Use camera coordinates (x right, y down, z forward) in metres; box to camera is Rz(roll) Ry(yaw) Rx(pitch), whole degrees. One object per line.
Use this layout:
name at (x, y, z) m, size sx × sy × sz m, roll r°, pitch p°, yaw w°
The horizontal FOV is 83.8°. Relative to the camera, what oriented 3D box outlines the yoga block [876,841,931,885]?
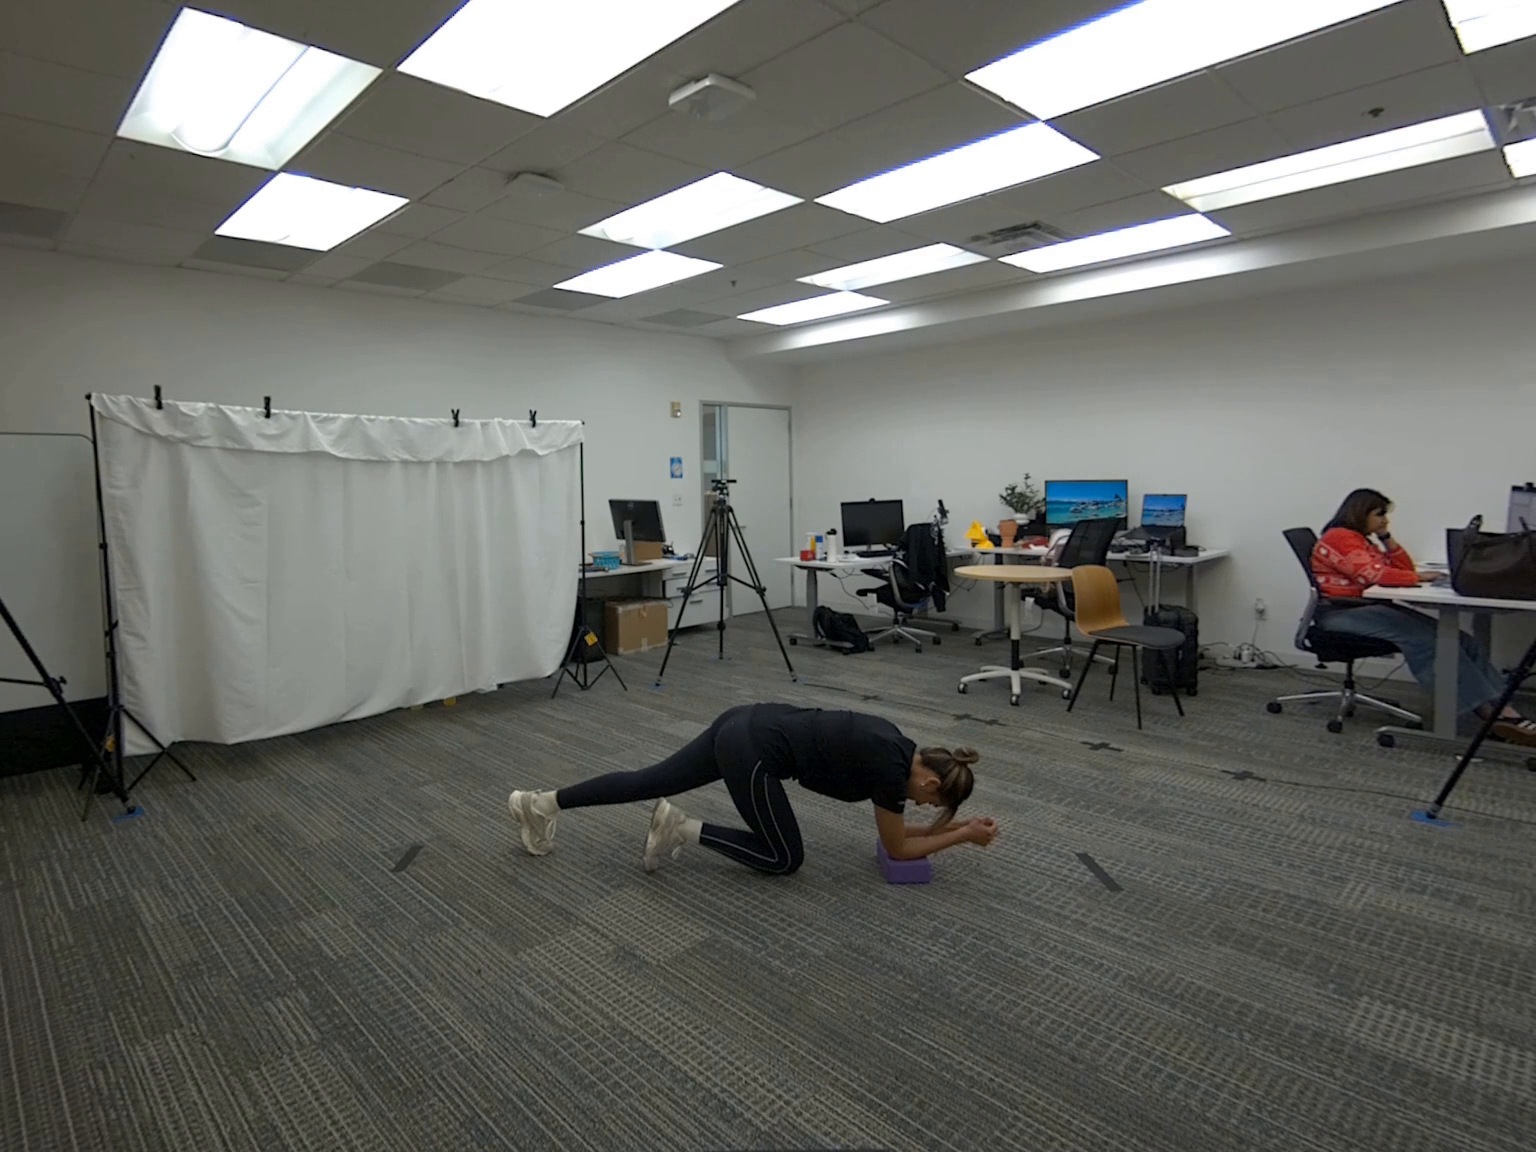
yoga block at (0.478, 1.000, 3.039) m, size 0.149 × 0.076 × 0.230 m, roll 0°, pitch 7°, yaw 0°
